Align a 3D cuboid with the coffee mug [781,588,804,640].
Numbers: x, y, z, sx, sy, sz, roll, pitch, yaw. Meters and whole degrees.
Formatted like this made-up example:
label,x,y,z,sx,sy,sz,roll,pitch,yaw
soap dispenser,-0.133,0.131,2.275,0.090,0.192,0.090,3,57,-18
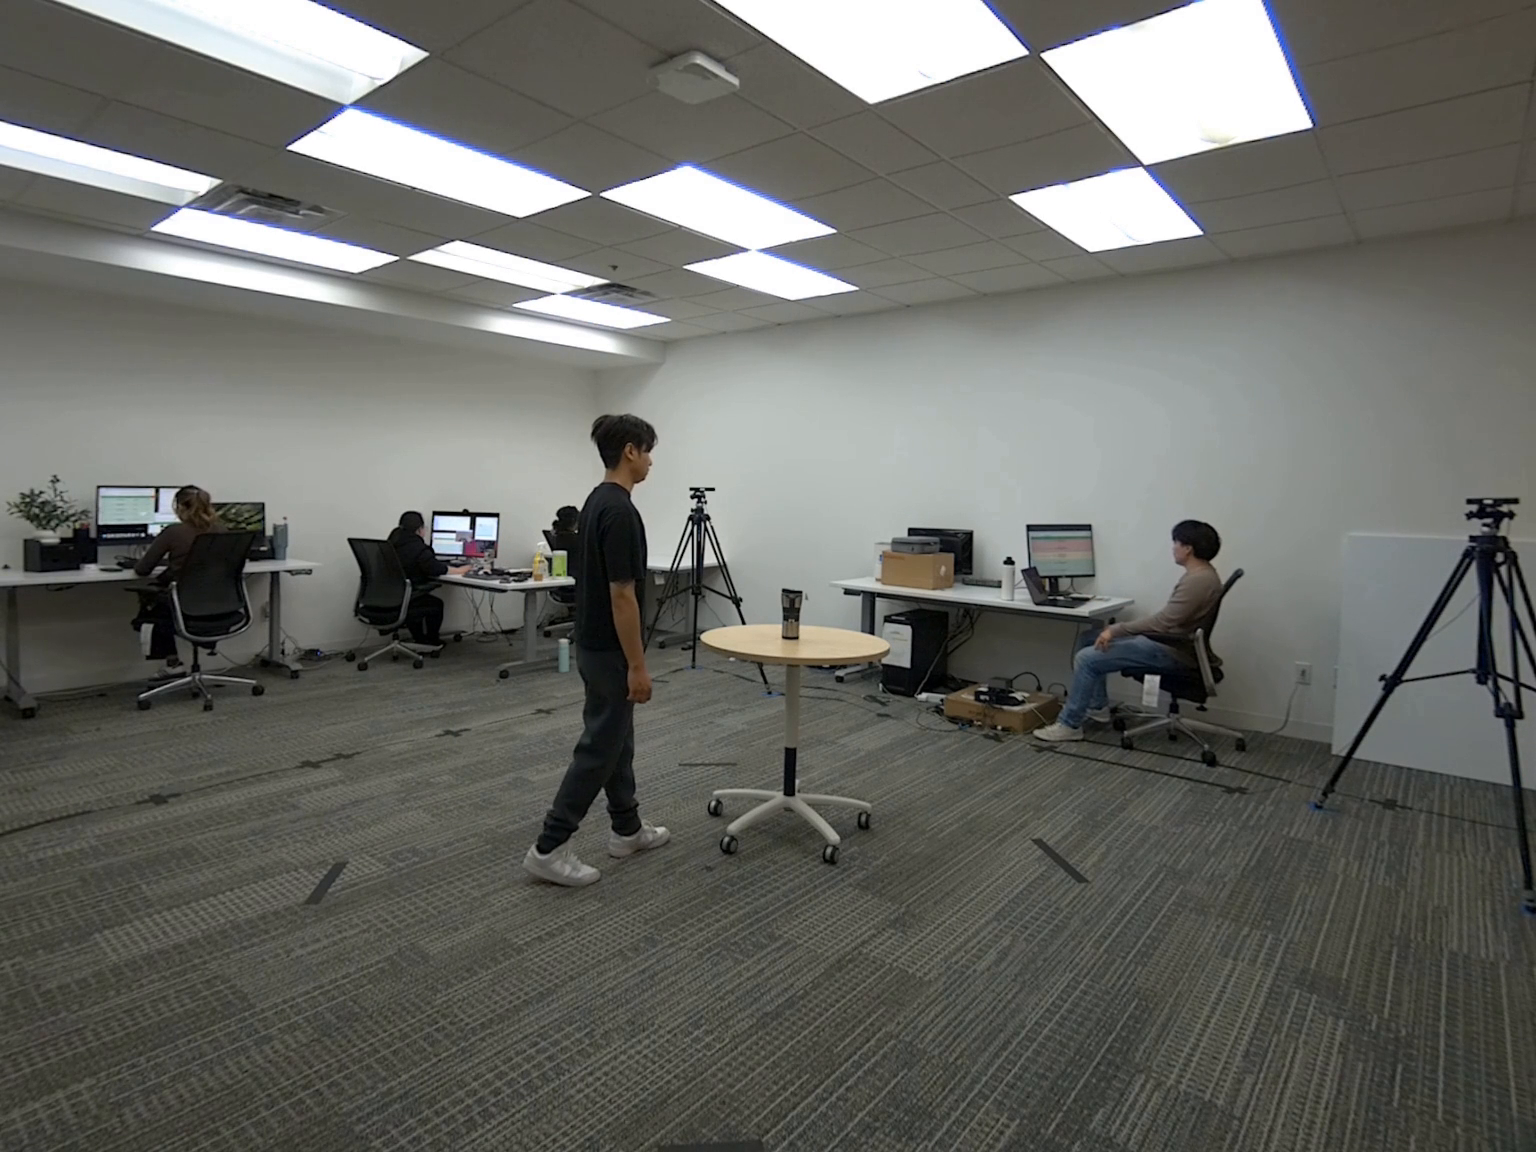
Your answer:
label,x,y,z,sx,sy,sz,roll,pitch,yaw
coffee mug,0.073,0.156,3.465,0.091,0.202,0.118,9,4,34
